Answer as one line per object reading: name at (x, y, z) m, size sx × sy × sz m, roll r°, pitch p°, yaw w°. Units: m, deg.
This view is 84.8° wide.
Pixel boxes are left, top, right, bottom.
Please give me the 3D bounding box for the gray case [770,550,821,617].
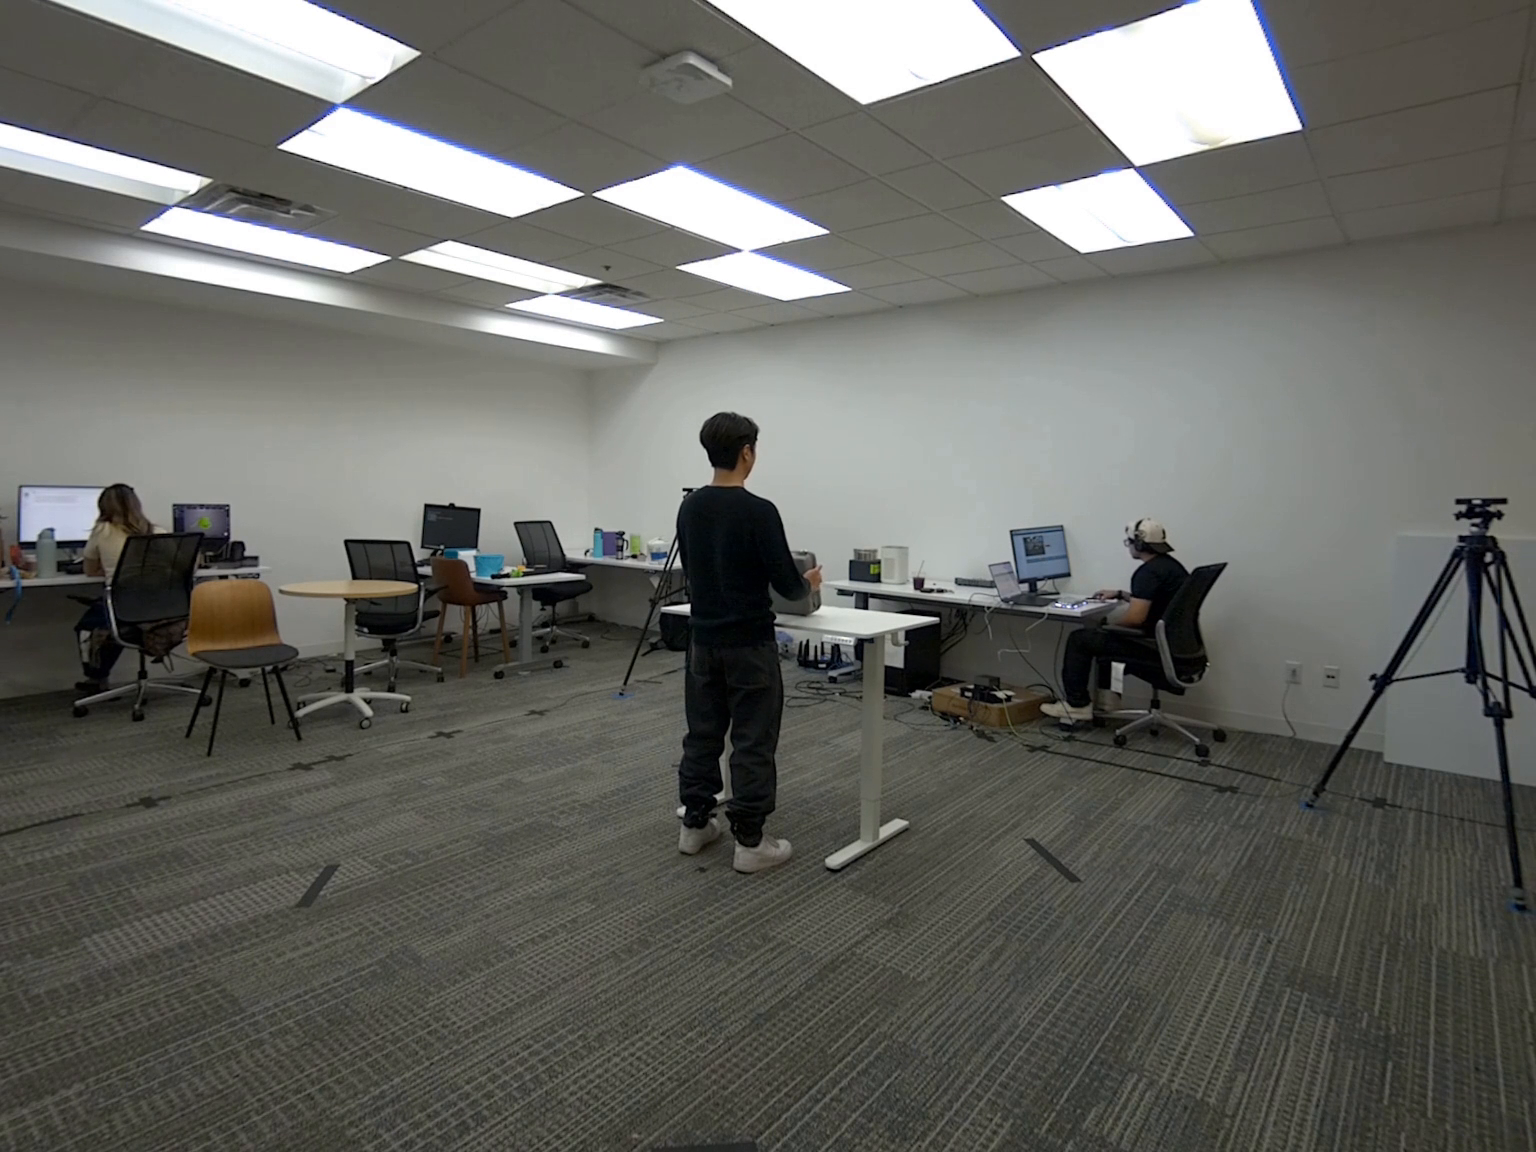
gray case at (0.073, 0.020, 3.507) m, size 0.265 × 0.257 × 0.102 m, roll 1°, pitch 15°, yaw 36°
